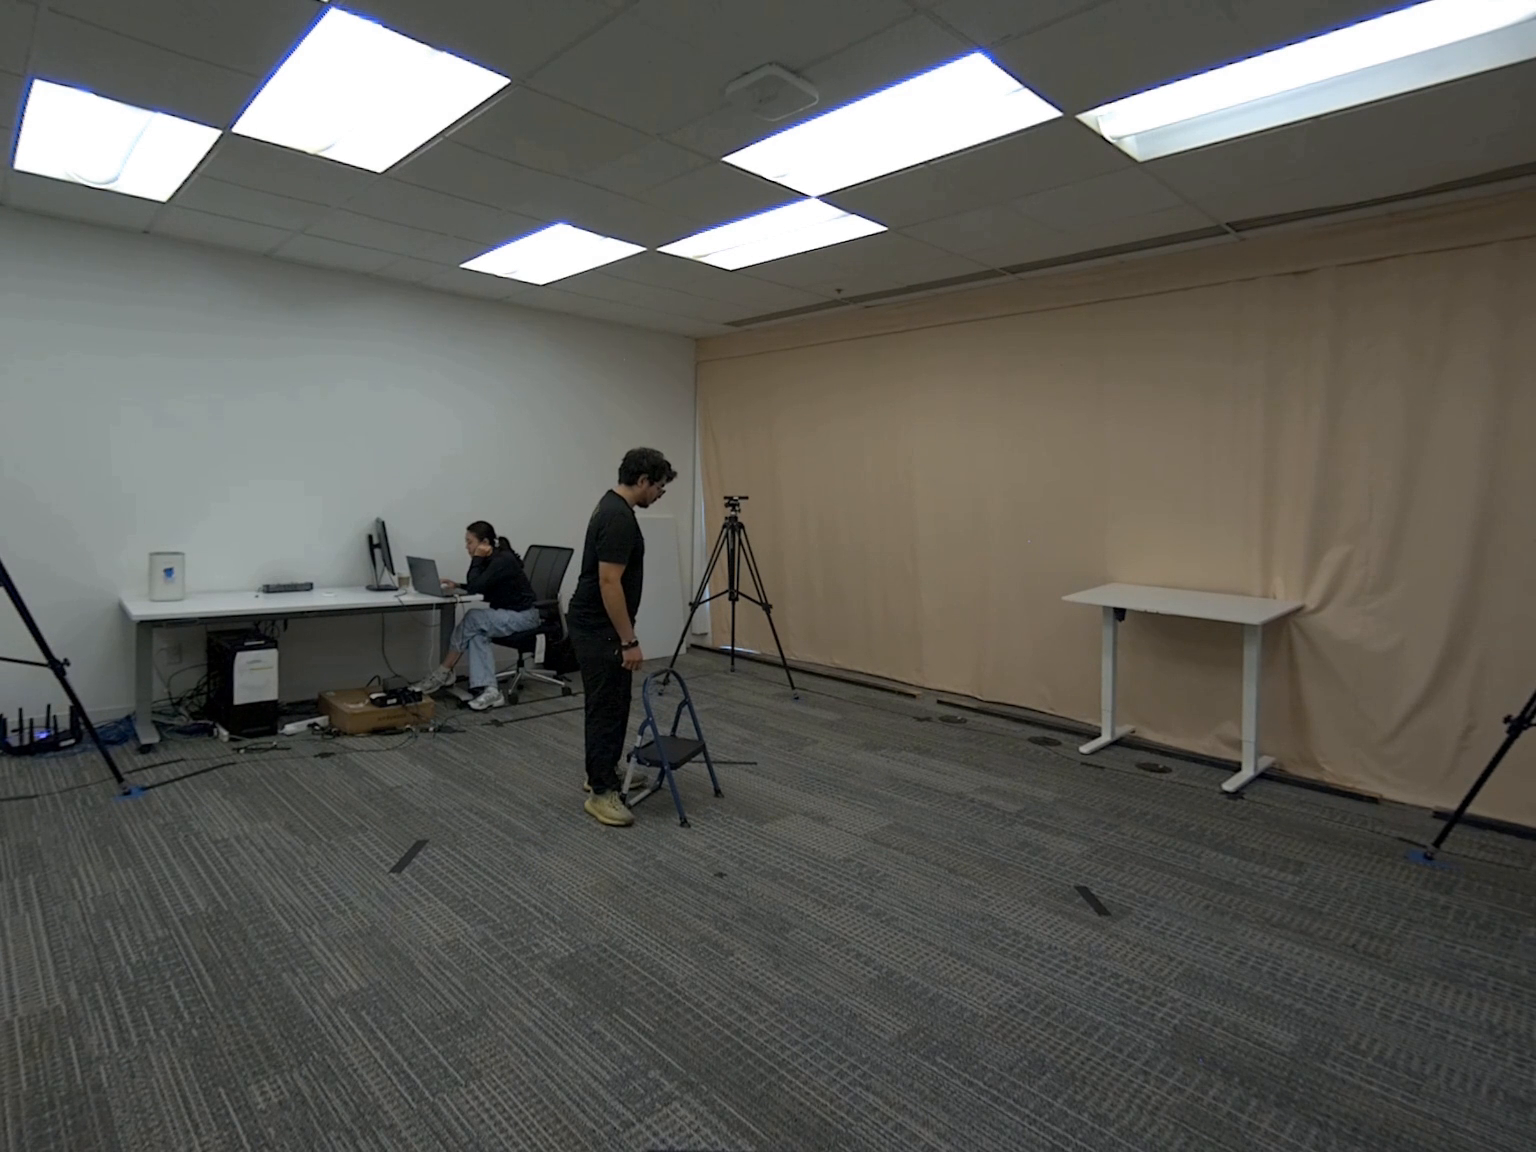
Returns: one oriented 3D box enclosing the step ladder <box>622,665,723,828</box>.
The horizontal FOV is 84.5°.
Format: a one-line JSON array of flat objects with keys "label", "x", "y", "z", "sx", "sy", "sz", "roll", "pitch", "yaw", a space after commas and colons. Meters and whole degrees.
[{"label": "step ladder", "x": -0.441, "y": 0.738, "z": 3.795, "sx": 0.355, "sy": 0.605, "sz": 0.425, "roll": 2, "pitch": 3, "yaw": 18}]
